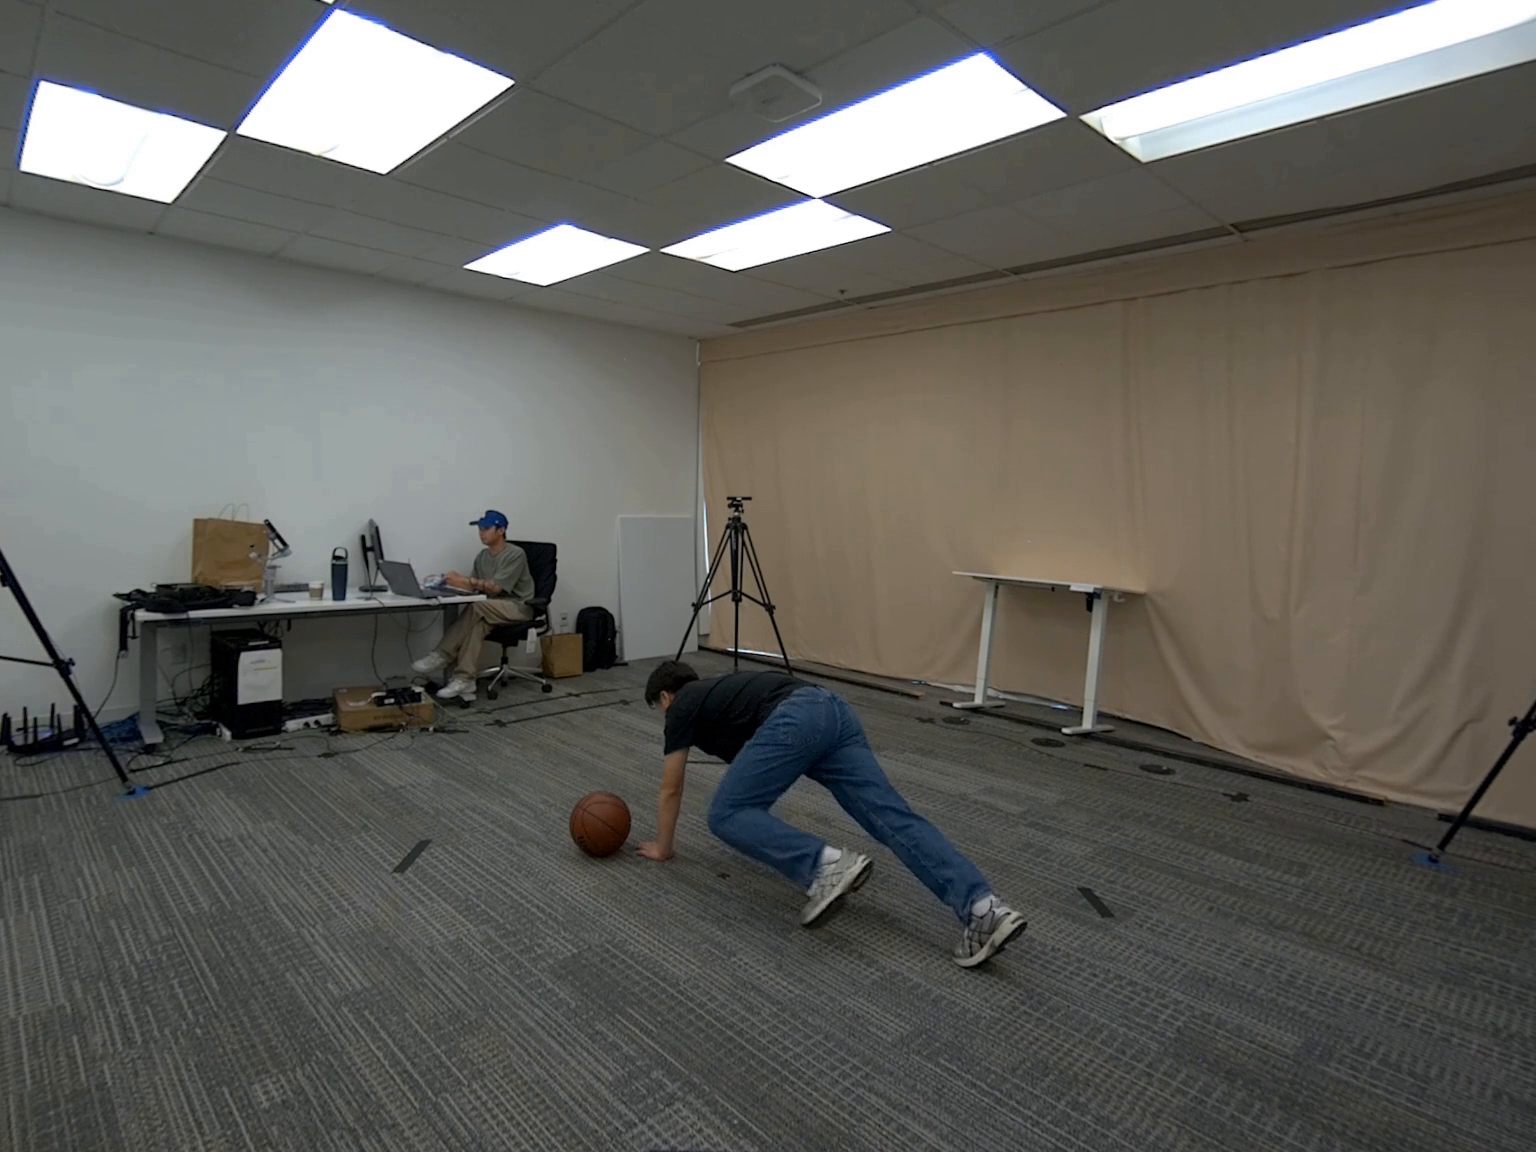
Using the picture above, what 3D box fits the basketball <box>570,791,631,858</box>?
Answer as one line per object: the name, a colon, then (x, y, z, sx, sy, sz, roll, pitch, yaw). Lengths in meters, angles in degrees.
basketball: (-0.653, 0.953, 3.277, 0.236, 0.235, 0.237, 1, 4, -1)
